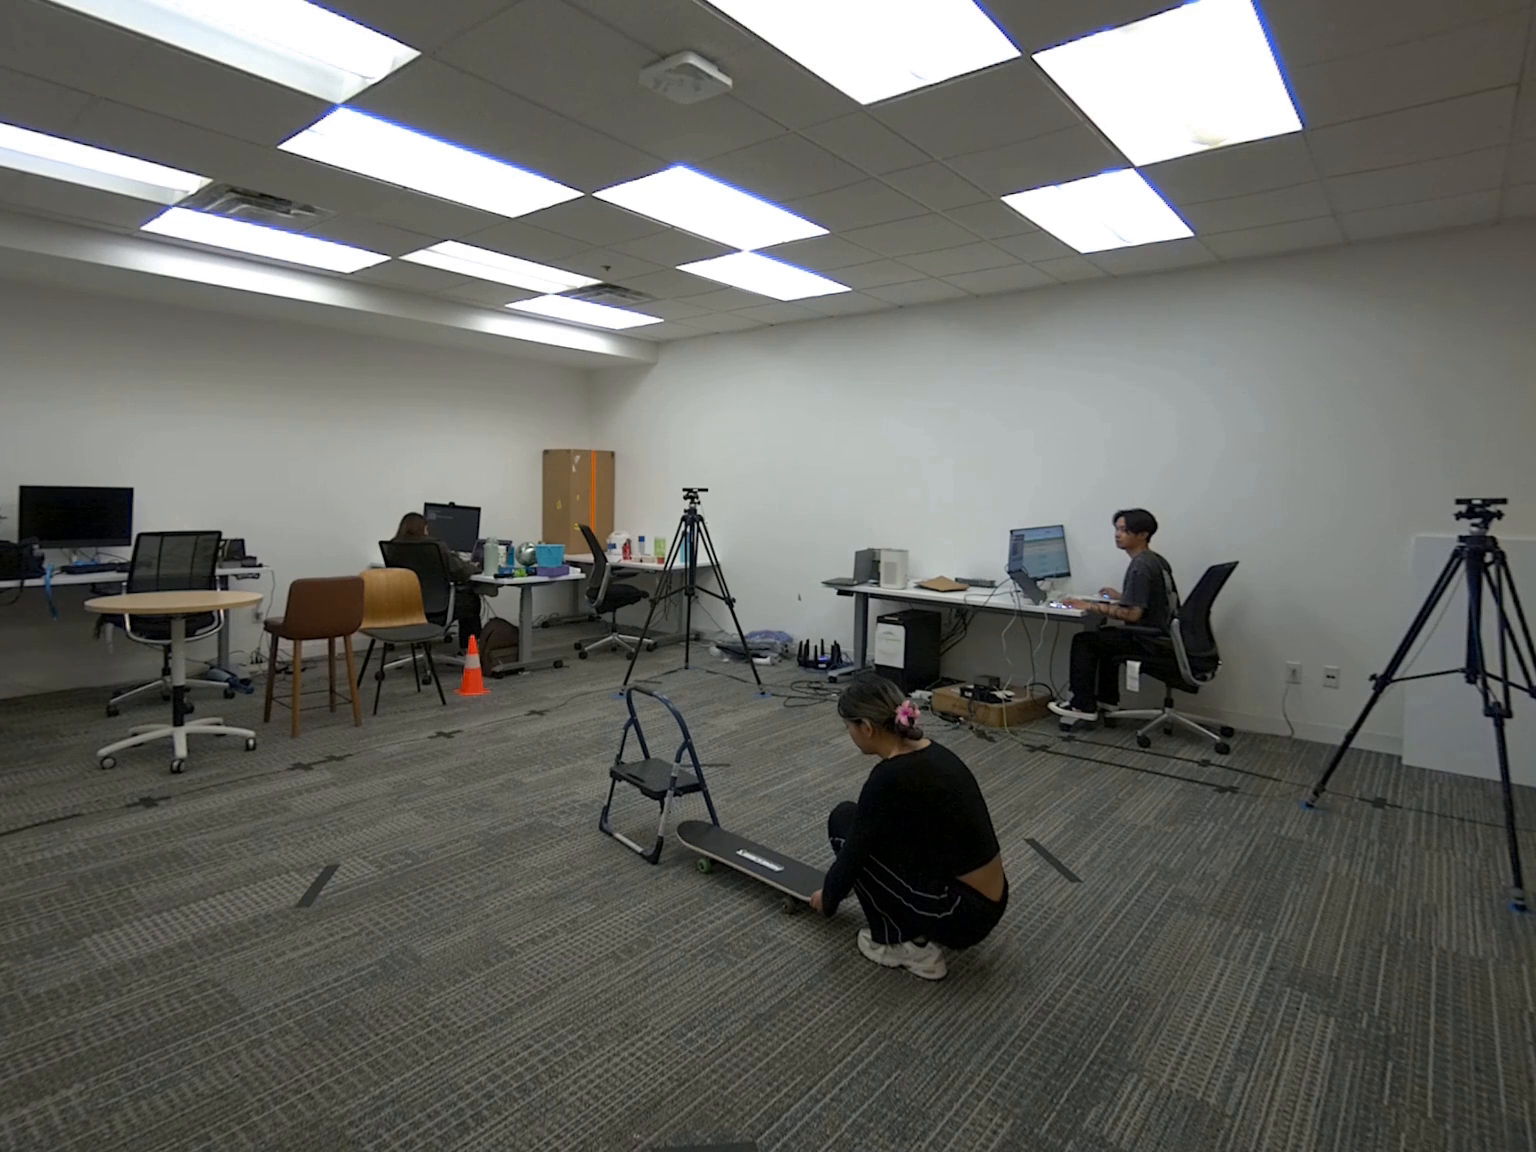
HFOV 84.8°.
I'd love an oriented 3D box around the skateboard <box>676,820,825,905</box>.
[{"bbox_3d":[-0.042,1.030,2.994,0.813,0.110,0.188,7,8,43],"label":"skateboard"}]
